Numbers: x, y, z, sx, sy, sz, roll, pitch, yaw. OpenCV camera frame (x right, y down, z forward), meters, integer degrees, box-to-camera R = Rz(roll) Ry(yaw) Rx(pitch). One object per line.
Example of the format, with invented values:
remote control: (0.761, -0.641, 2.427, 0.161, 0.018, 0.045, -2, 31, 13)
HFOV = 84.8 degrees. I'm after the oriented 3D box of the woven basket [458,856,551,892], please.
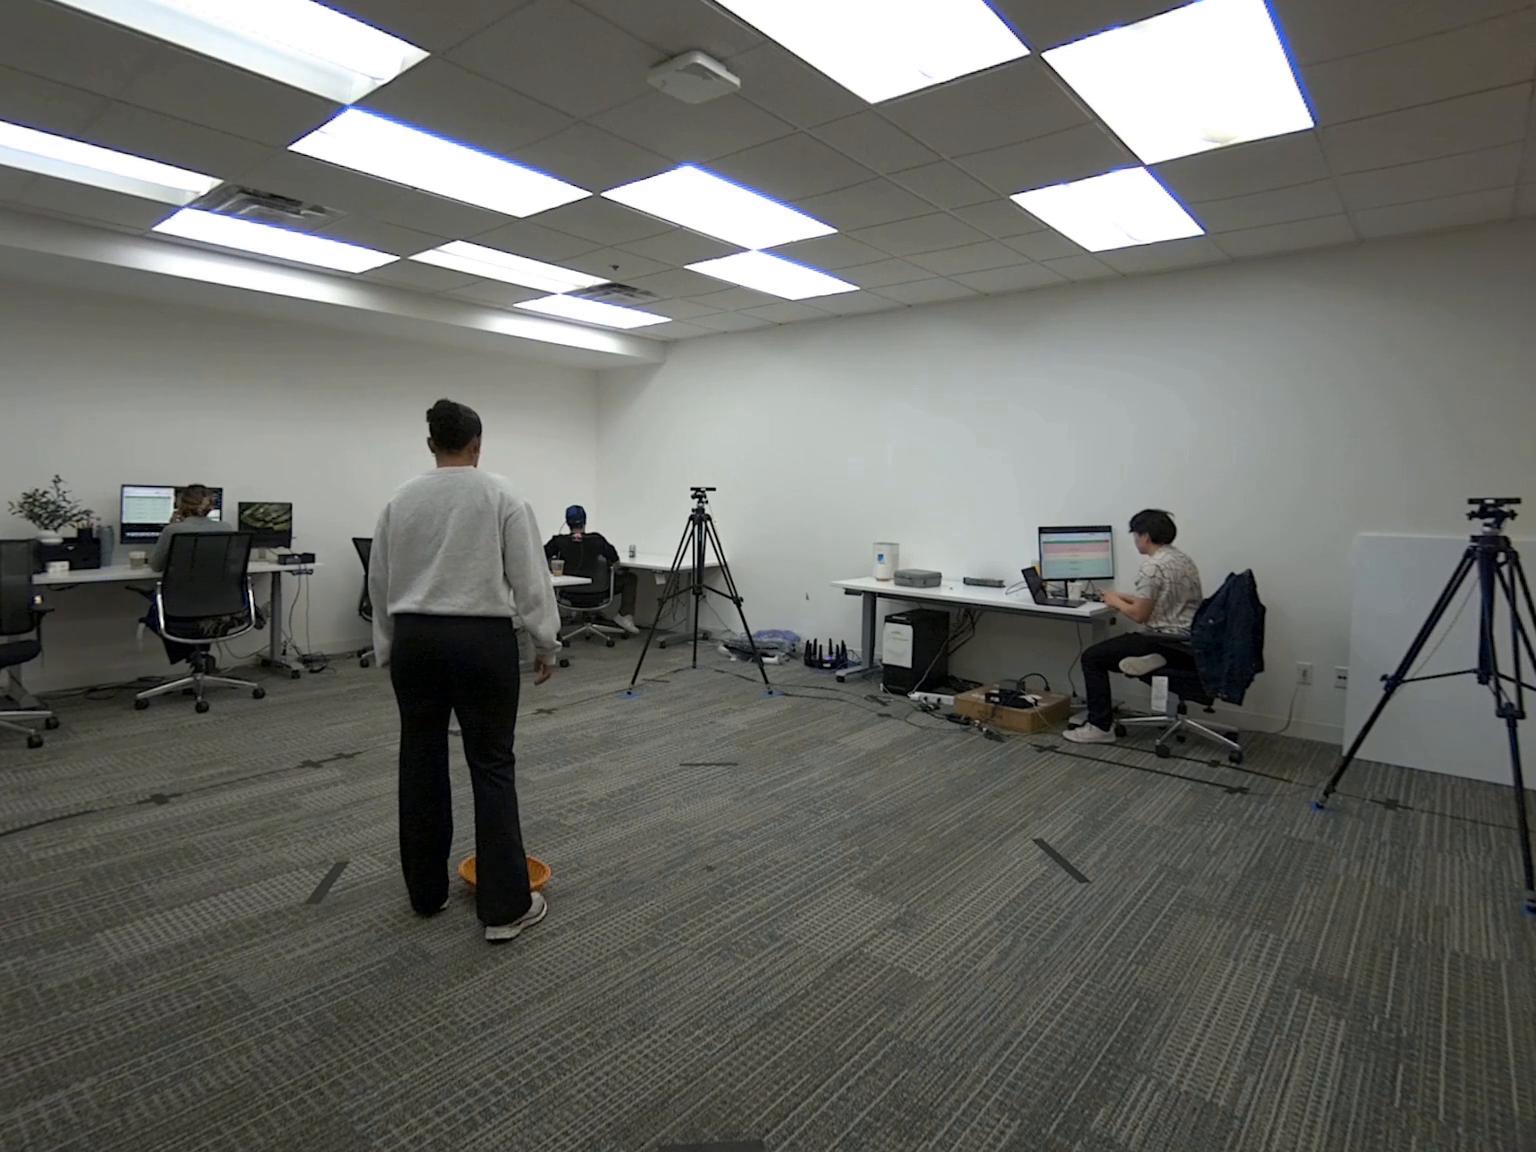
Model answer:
woven basket: (-0.913, 1.027, 2.924, 0.362, 0.073, 0.245, 6, 6, 39)
